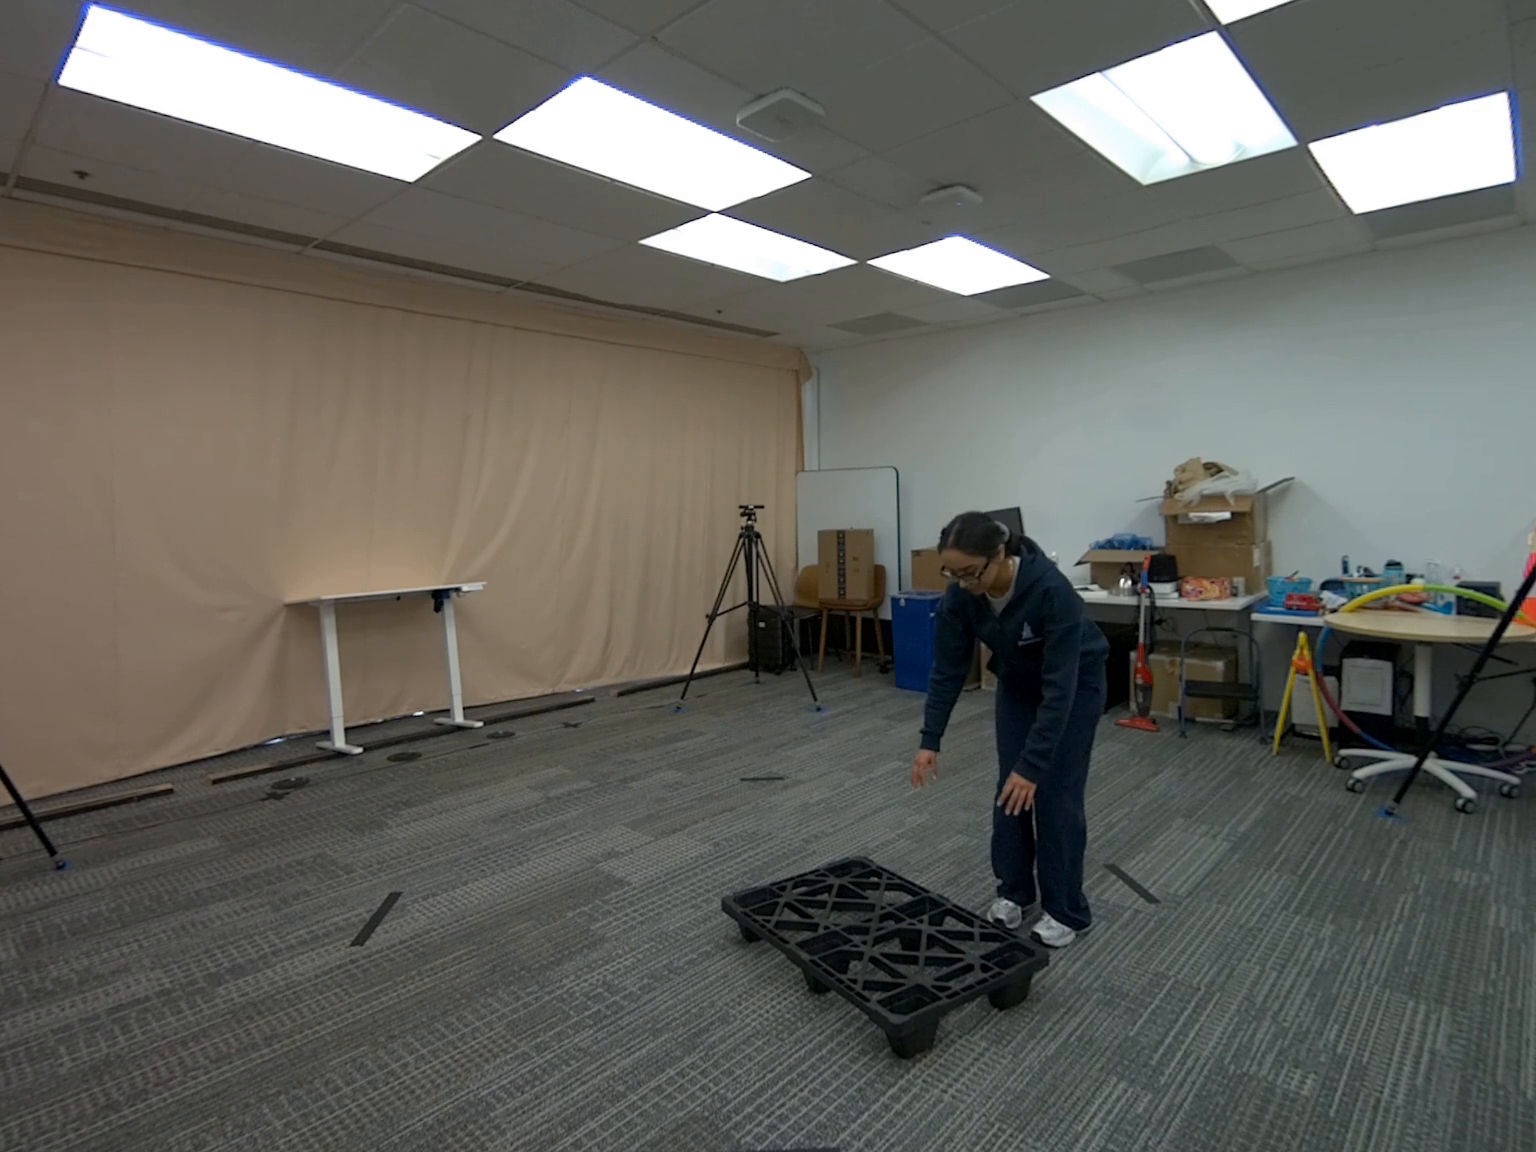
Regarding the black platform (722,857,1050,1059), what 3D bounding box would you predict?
[{"bbox_3d":[0.323,1.107,2.531,0.588,0.143,0.831,-4,6,-34],"label":"black platform"}]
